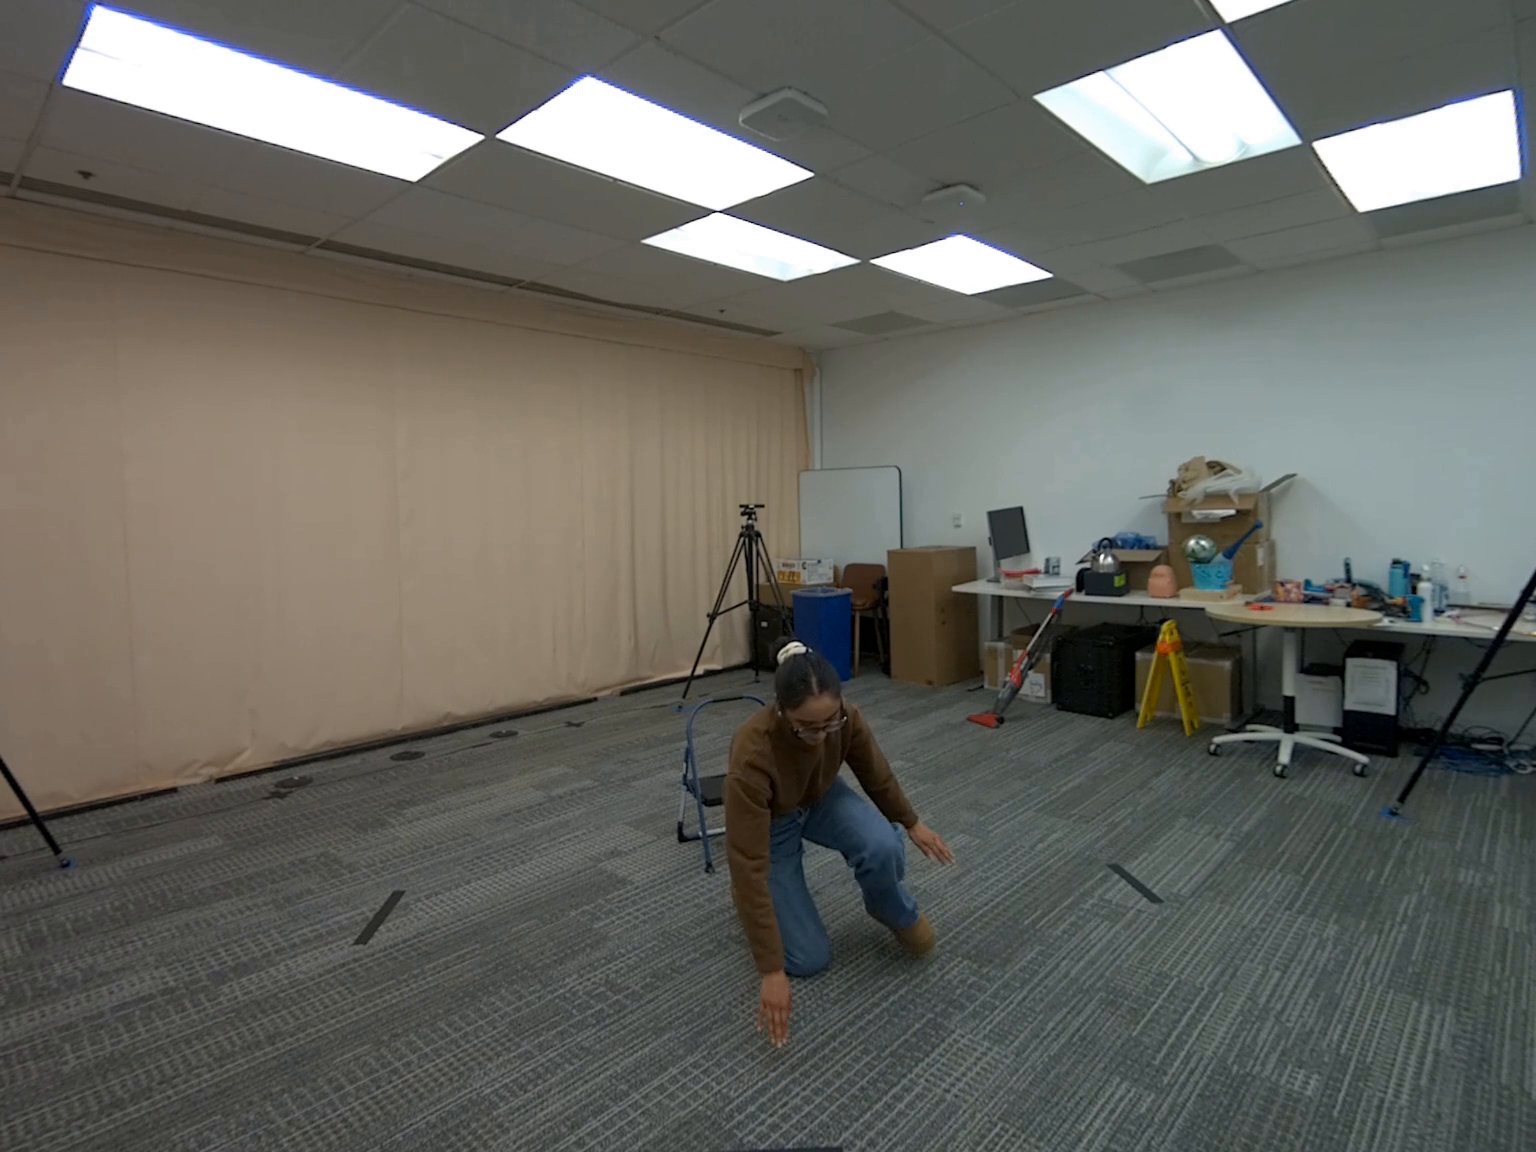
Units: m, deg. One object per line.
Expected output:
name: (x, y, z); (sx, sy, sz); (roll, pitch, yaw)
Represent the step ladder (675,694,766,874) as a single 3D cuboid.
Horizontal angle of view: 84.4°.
step ladder: (-0.122, 0.804, 3.415); (0.420, 0.605, 0.359); (-3, 4, -27)
